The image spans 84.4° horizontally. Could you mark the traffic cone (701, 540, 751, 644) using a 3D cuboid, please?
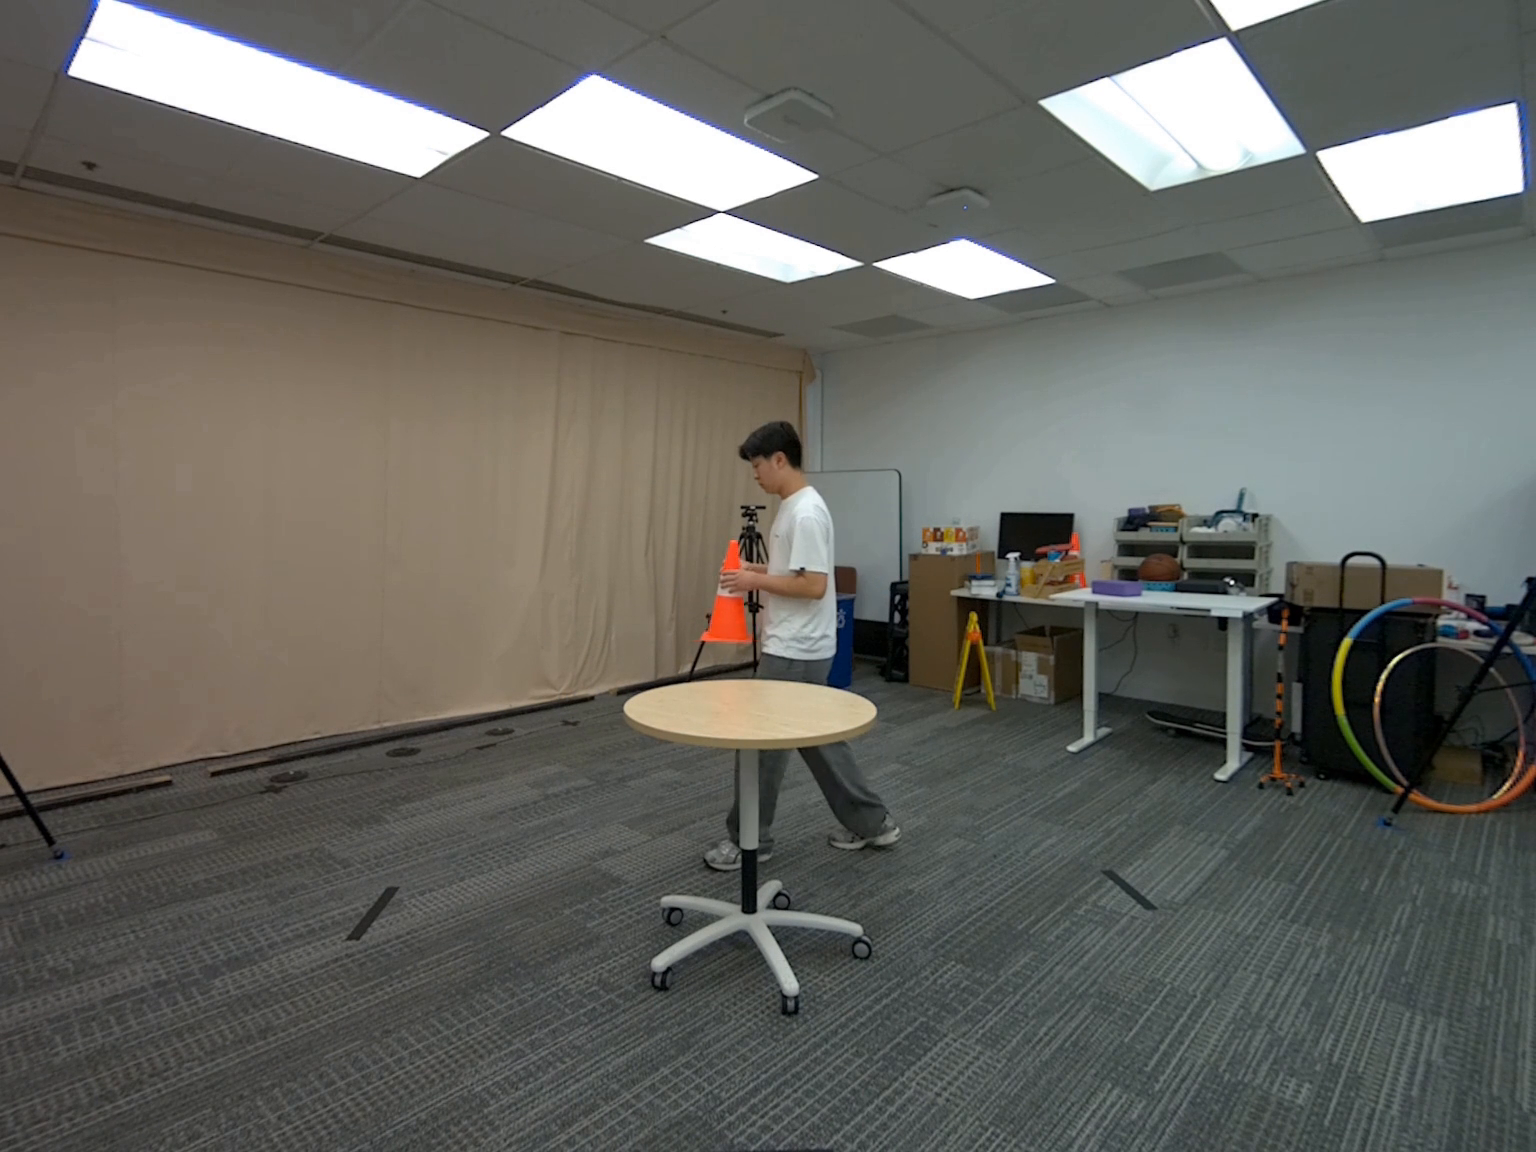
[{"bbox_3d":[-0.141,0.051,3.318,0.210,0.383,0.199,3,1,22],"label":"traffic cone"}]
